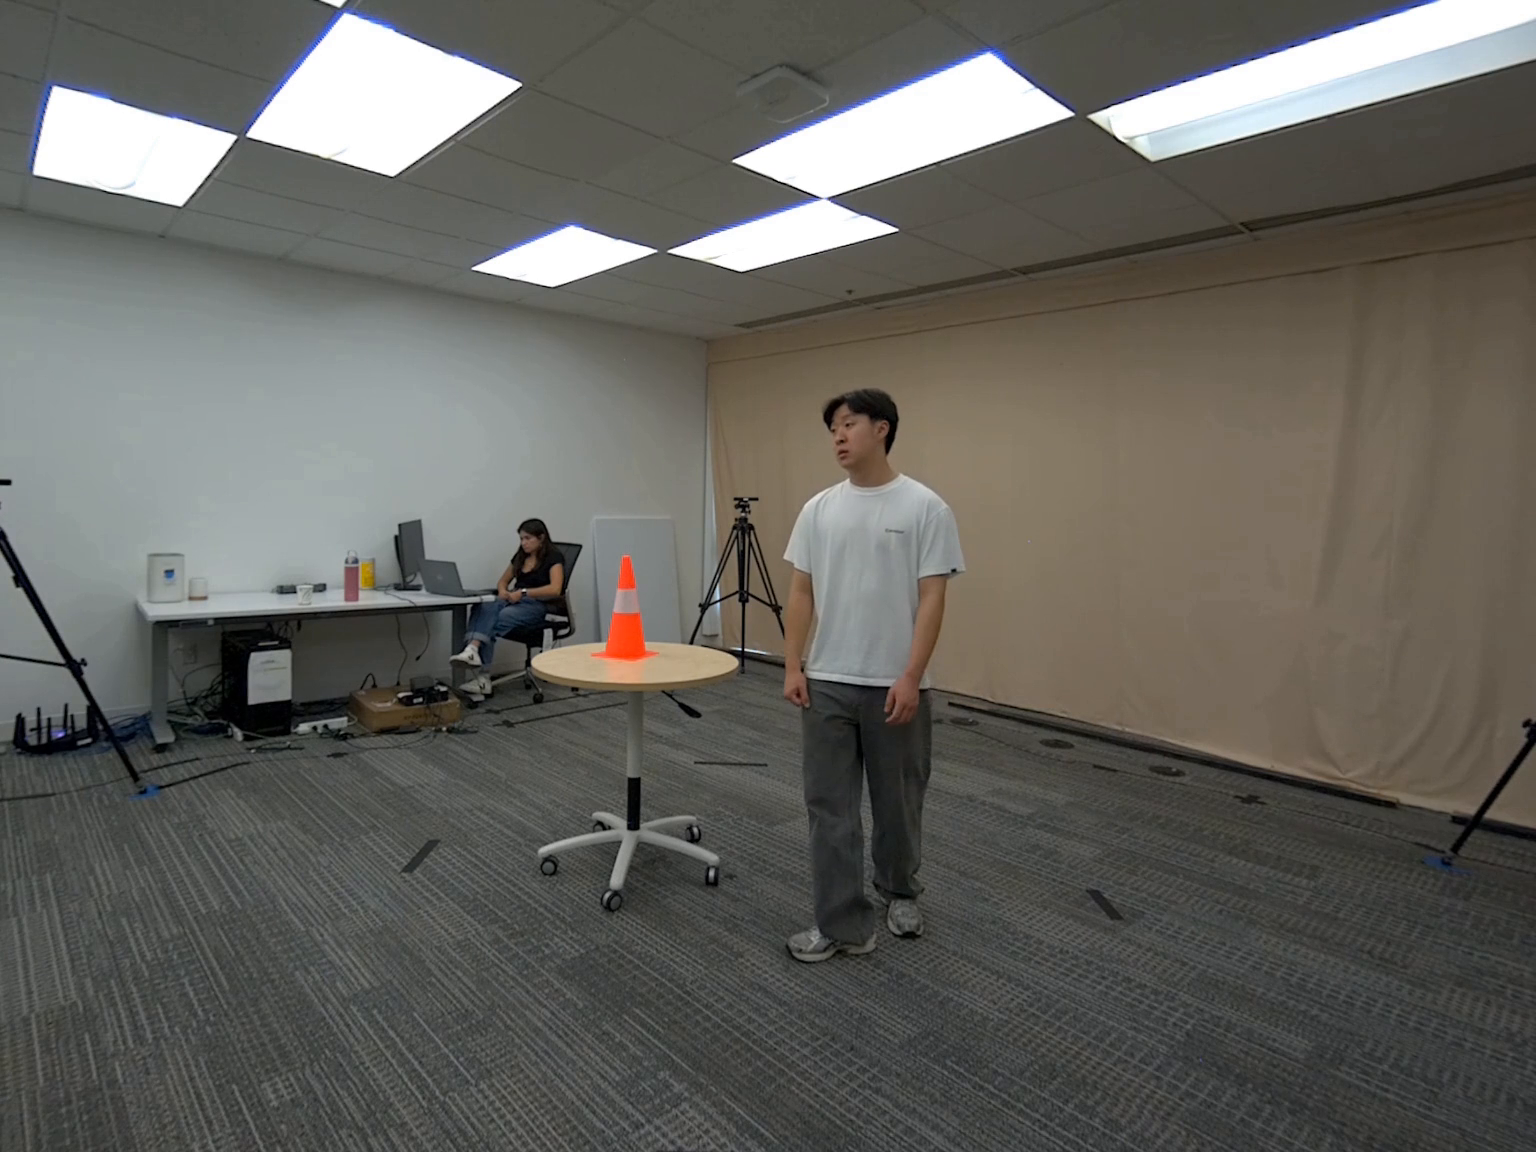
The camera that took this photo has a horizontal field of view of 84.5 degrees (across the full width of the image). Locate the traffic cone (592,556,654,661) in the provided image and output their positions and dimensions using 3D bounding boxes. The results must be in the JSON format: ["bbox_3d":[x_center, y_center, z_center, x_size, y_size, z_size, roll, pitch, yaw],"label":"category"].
[{"bbox_3d":[-0.549,0.121,3.224,0.207,0.383,0.201,3,3,24],"label":"traffic cone"}]
